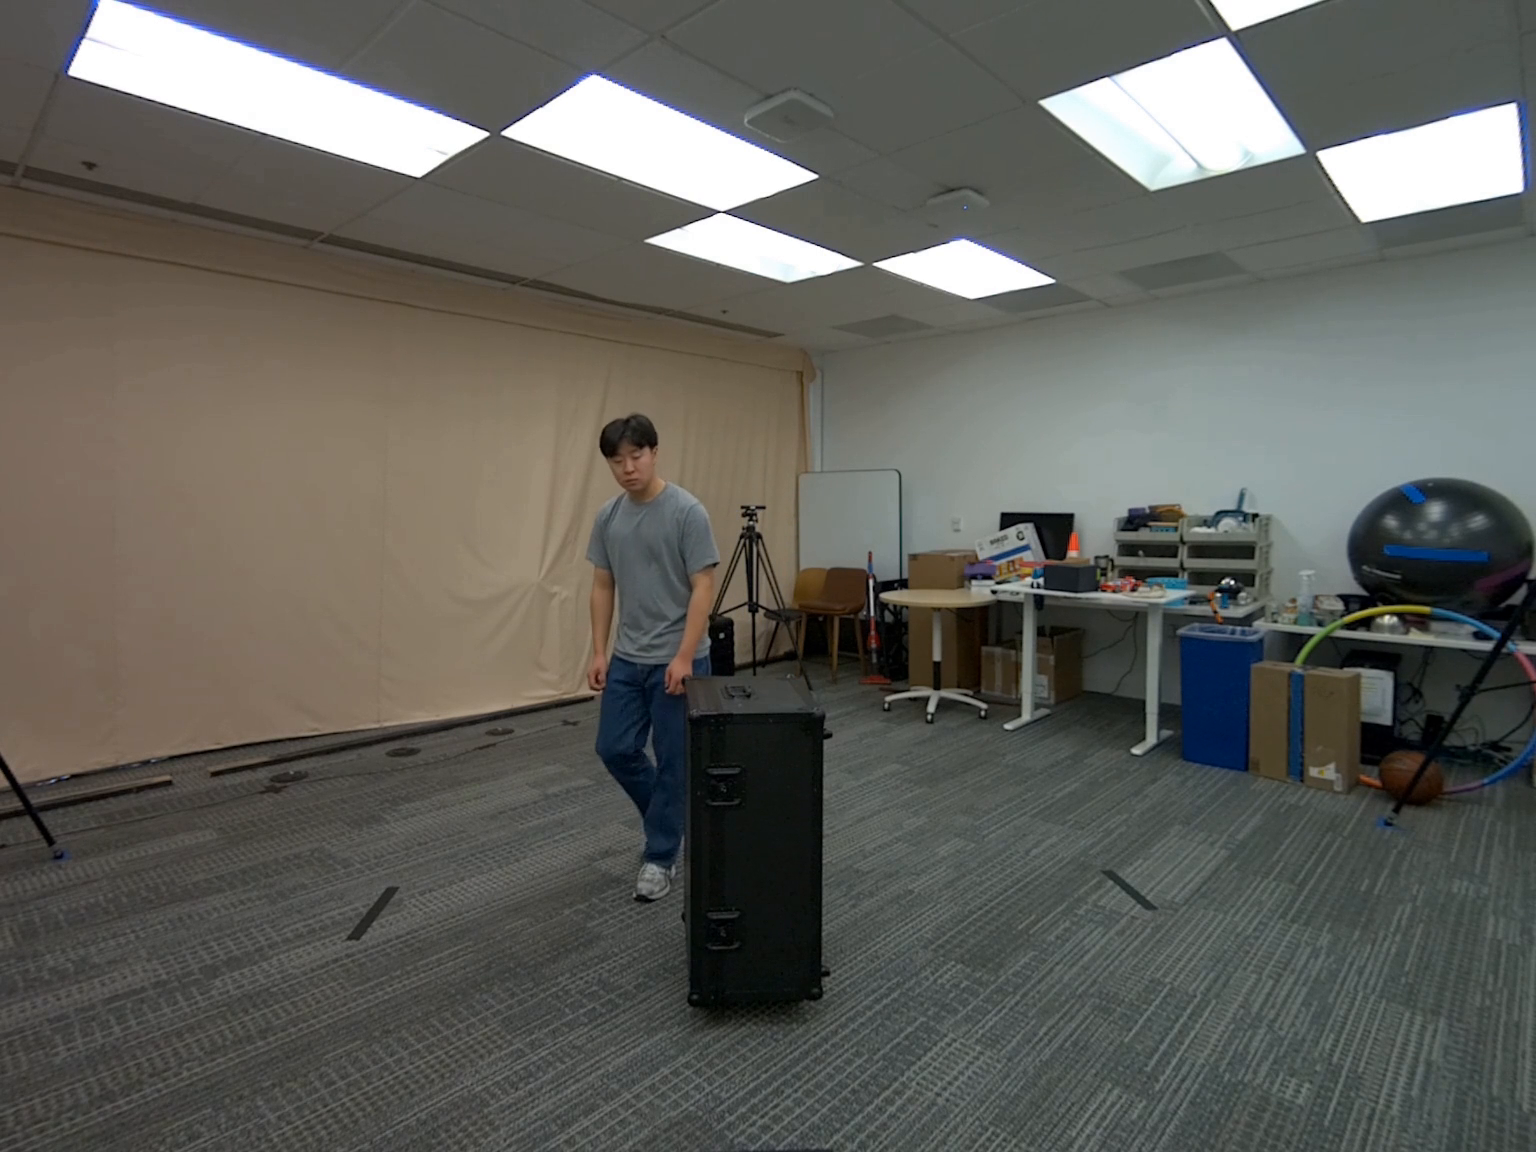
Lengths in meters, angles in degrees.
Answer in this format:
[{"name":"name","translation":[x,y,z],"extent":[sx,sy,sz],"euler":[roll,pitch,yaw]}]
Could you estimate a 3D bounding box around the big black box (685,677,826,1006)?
[{"name":"big black box","translation":[-0.045,0.767,2.460],"extent":[0.394,0.860,0.525],"euler":[1,3,-6]}]
